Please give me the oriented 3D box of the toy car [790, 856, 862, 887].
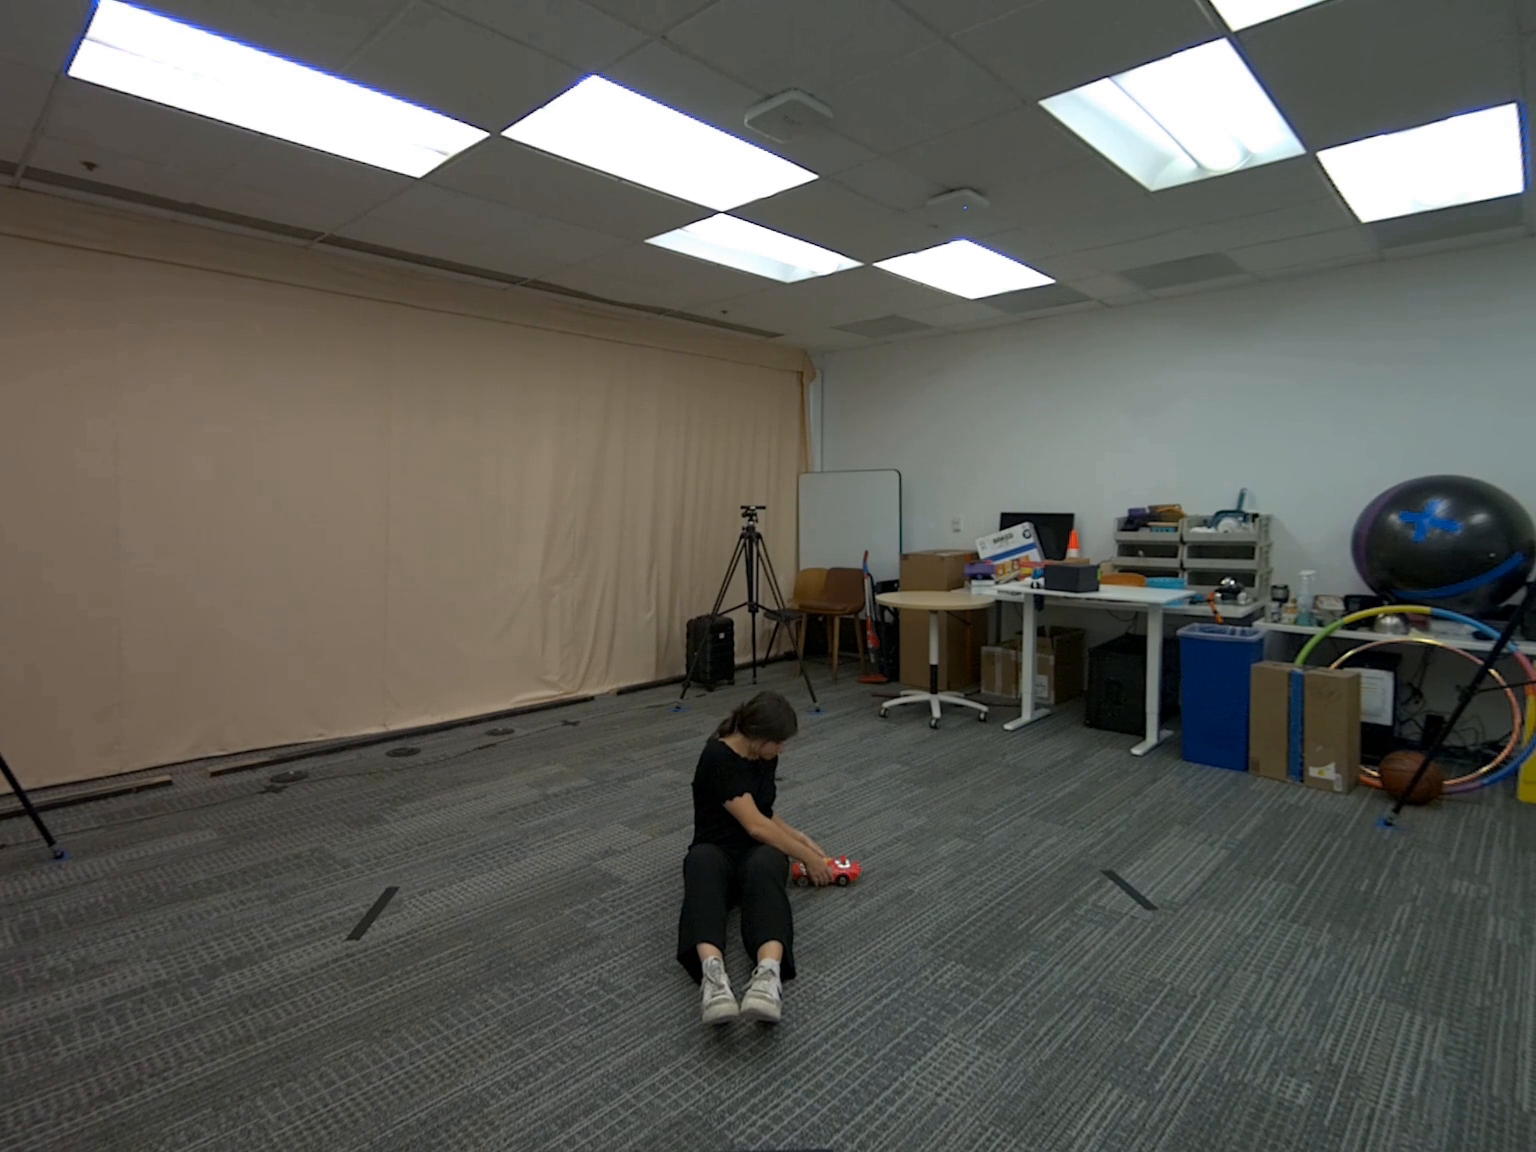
[{"bbox_3d":[0.224,1.101,3.114,0.254,0.083,0.131,-12,6,-1],"label":"toy car"}]
